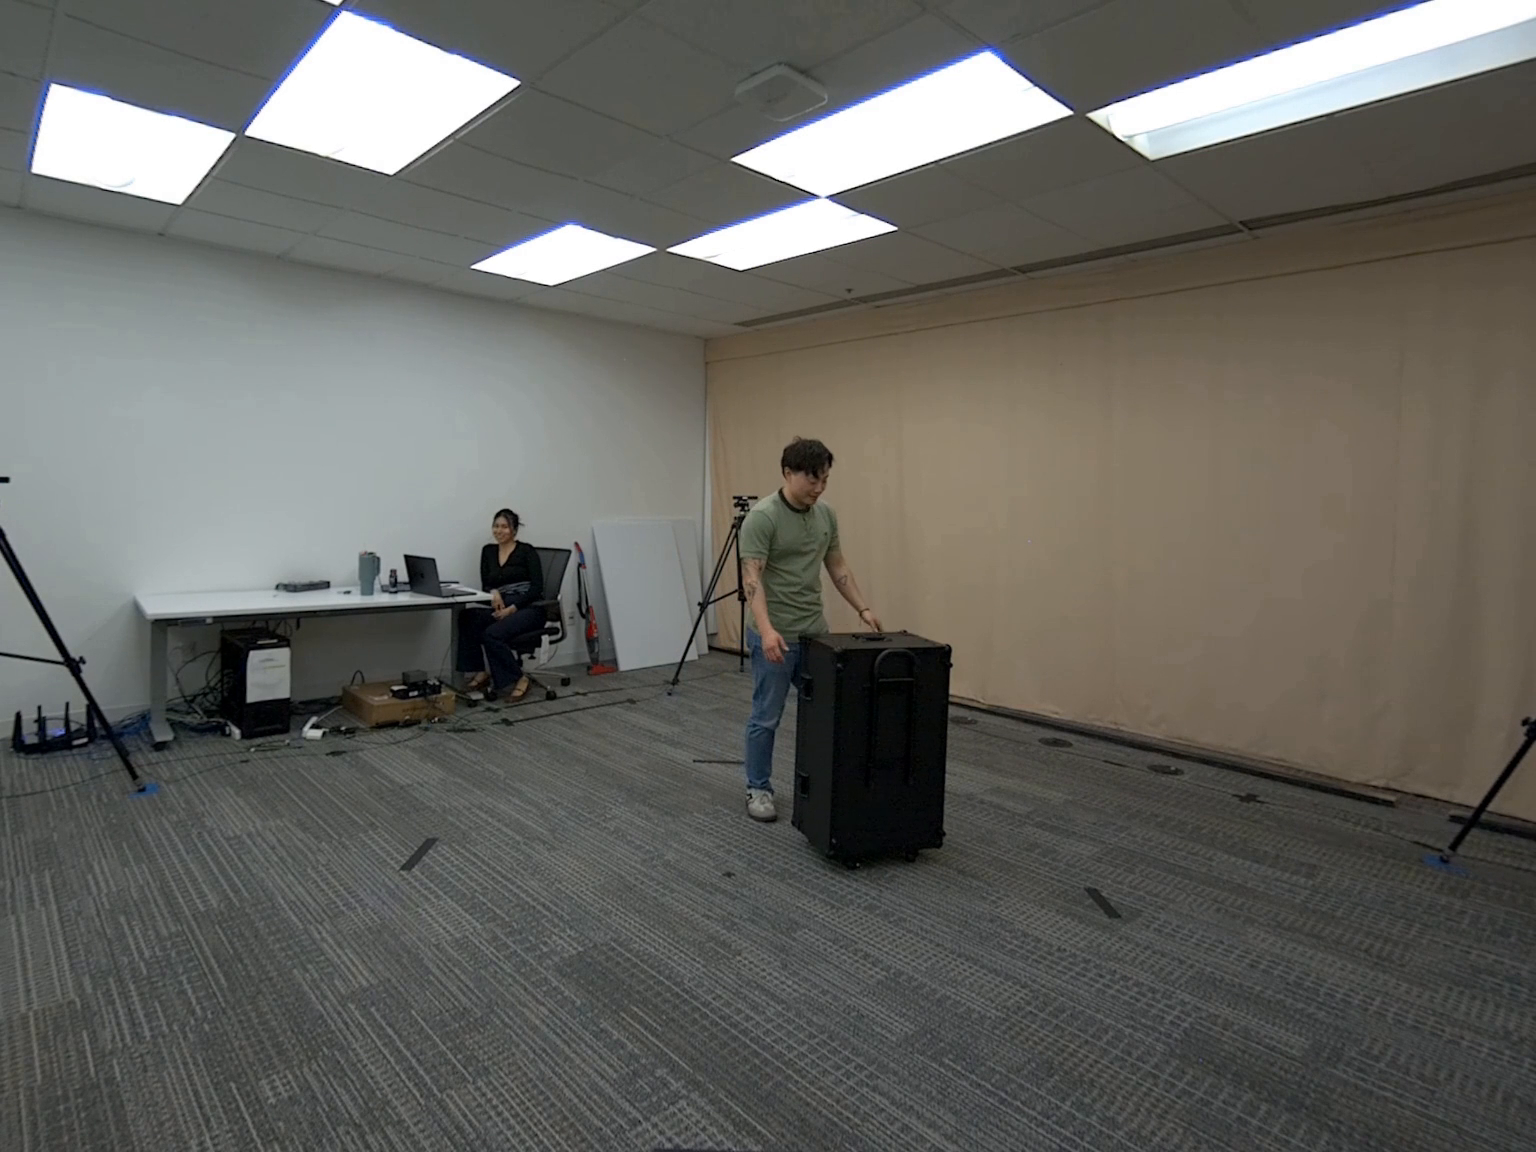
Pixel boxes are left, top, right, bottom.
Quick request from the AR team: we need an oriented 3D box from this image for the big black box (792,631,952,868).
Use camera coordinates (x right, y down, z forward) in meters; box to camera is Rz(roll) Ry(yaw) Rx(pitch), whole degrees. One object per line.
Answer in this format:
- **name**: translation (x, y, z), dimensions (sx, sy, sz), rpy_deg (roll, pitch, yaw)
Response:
- **big black box**: translation (0.399, 0.669, 3.303), dimensions (0.513, 0.859, 0.403), rpy_deg (1, 3, -20)
